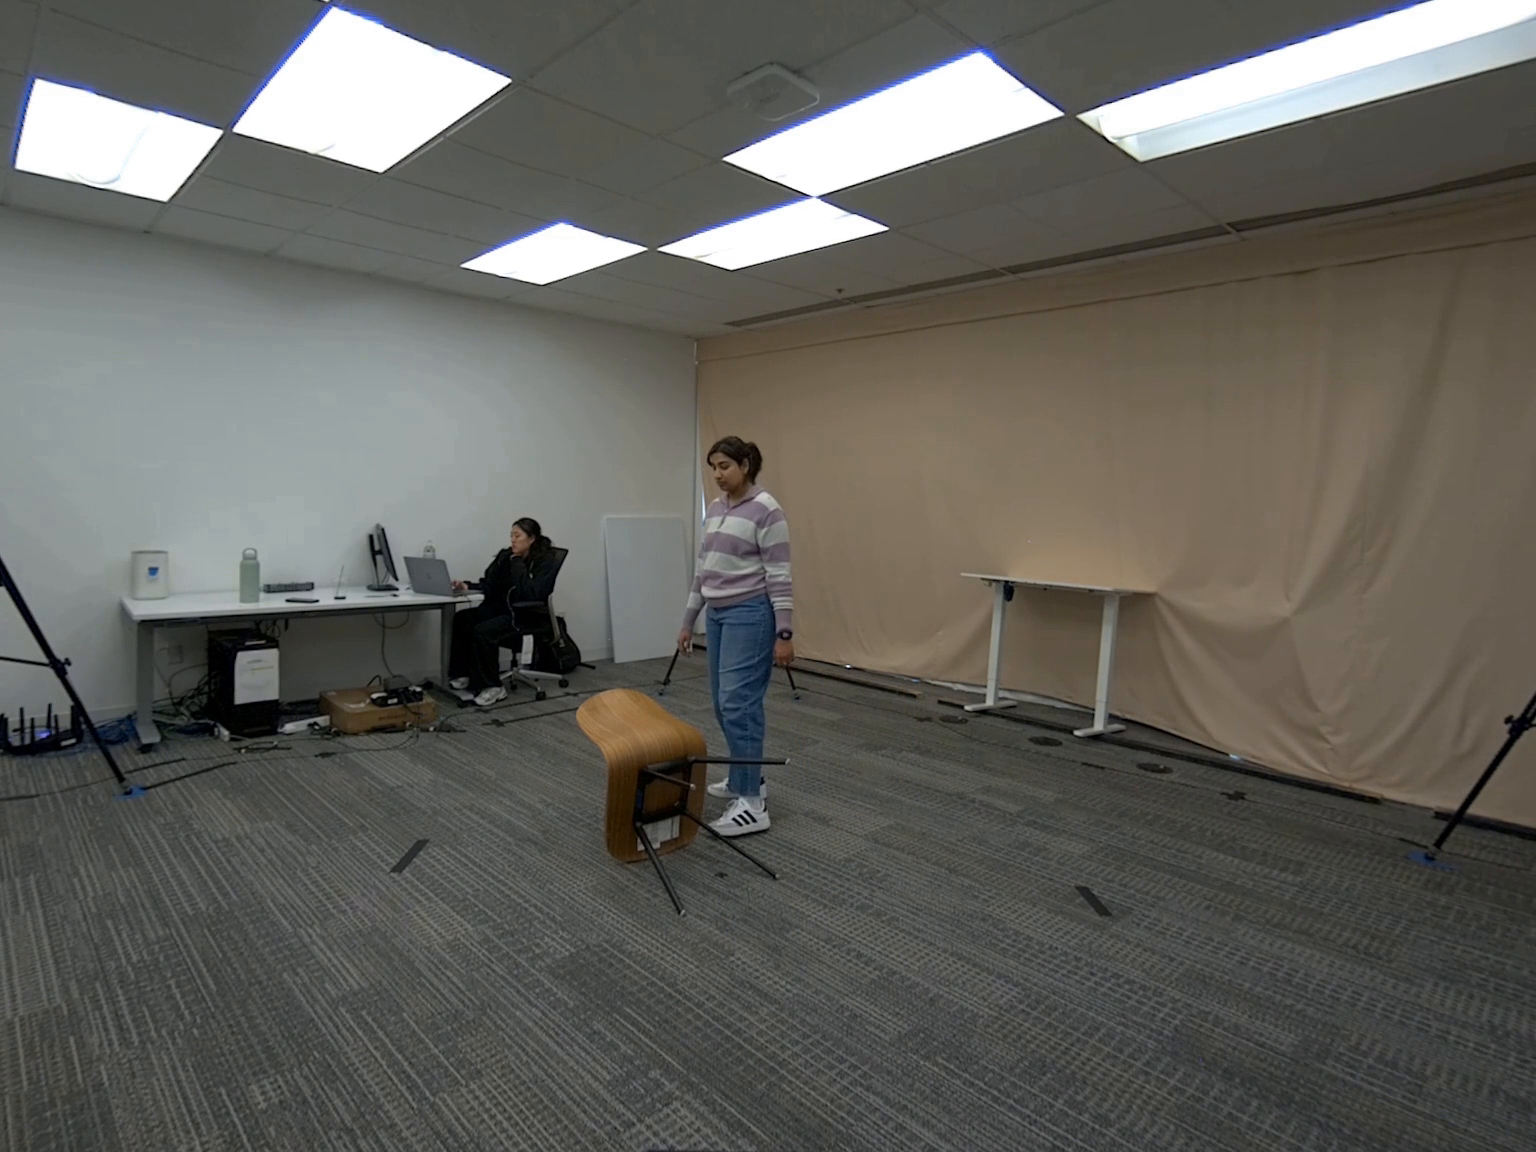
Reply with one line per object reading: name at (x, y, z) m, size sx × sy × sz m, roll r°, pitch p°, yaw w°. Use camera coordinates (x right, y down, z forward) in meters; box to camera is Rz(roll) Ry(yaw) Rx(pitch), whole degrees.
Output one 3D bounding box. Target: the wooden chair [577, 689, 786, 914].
wooden chair at (-0.401, 0.828, 3.234) m, size 0.467 × 0.519 × 0.903 m, roll -3°, pitch 15°, yaw -42°
